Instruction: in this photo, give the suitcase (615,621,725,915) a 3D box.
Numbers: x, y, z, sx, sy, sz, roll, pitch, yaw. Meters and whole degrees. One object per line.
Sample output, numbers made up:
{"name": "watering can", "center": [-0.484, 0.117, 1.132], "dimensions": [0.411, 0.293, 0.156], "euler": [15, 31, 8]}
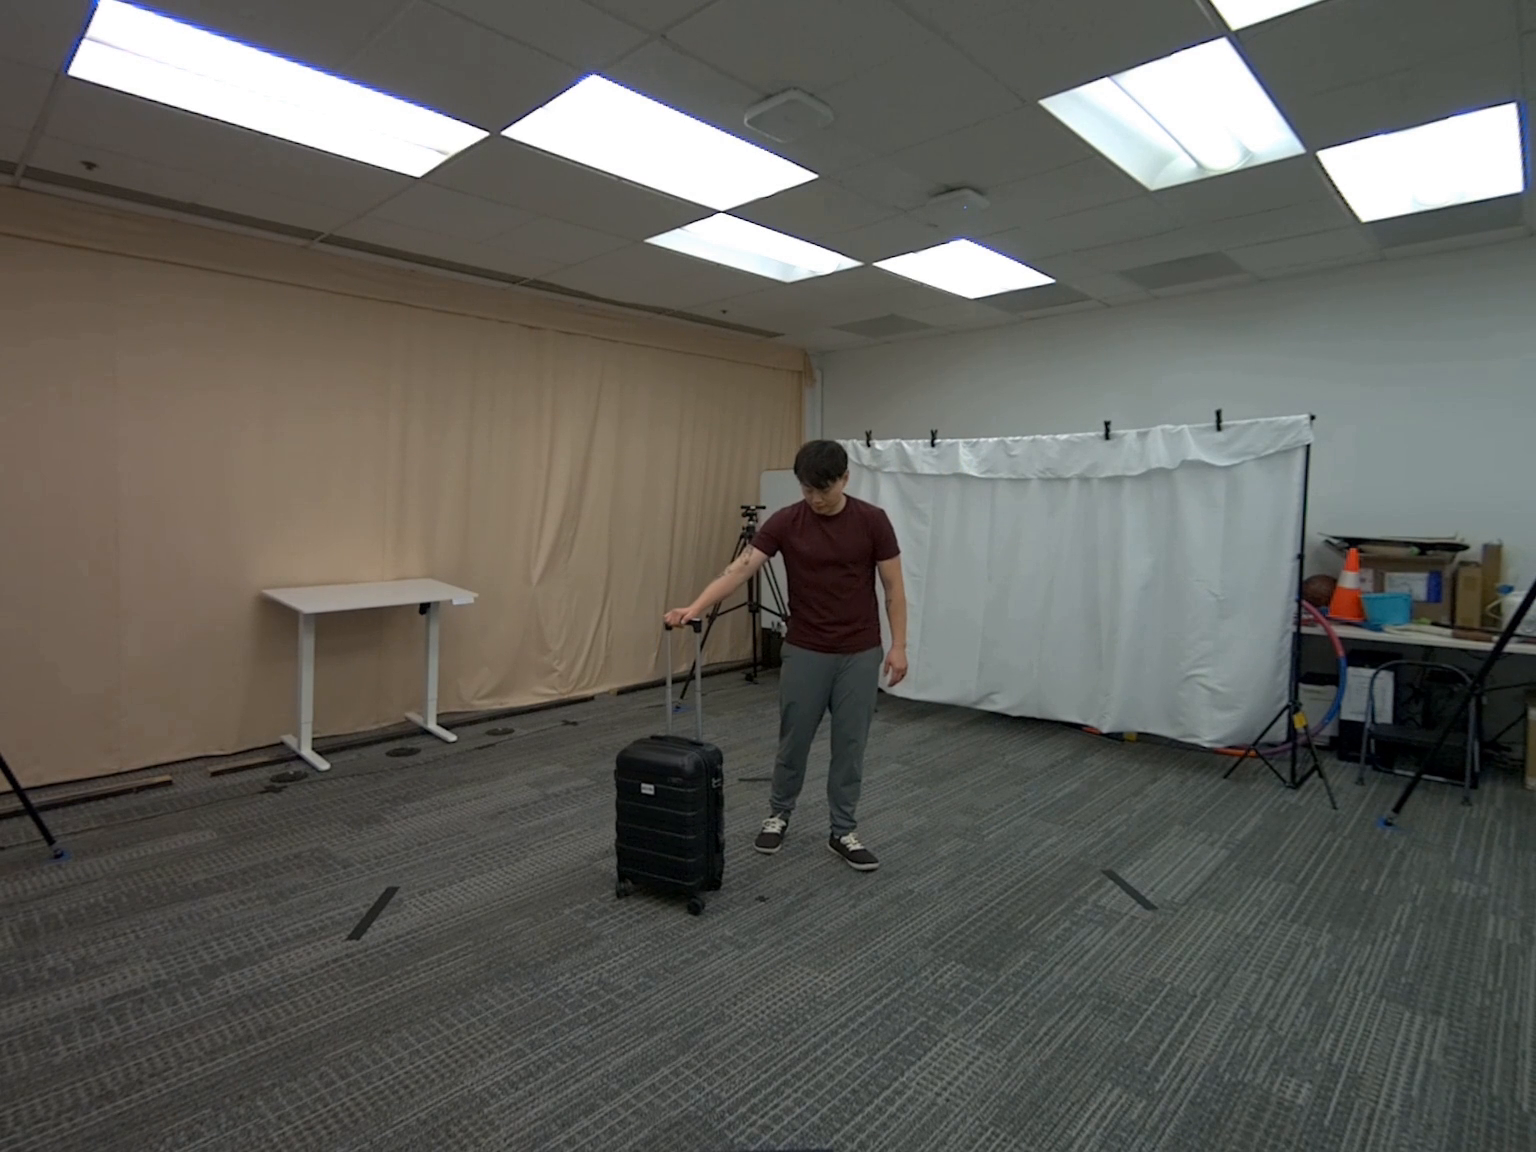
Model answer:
{"name": "suitcase", "center": [-0.352, 0.665, 3.018], "dimensions": [0.394, 0.976, 0.251], "euler": [1, 4, 27]}
